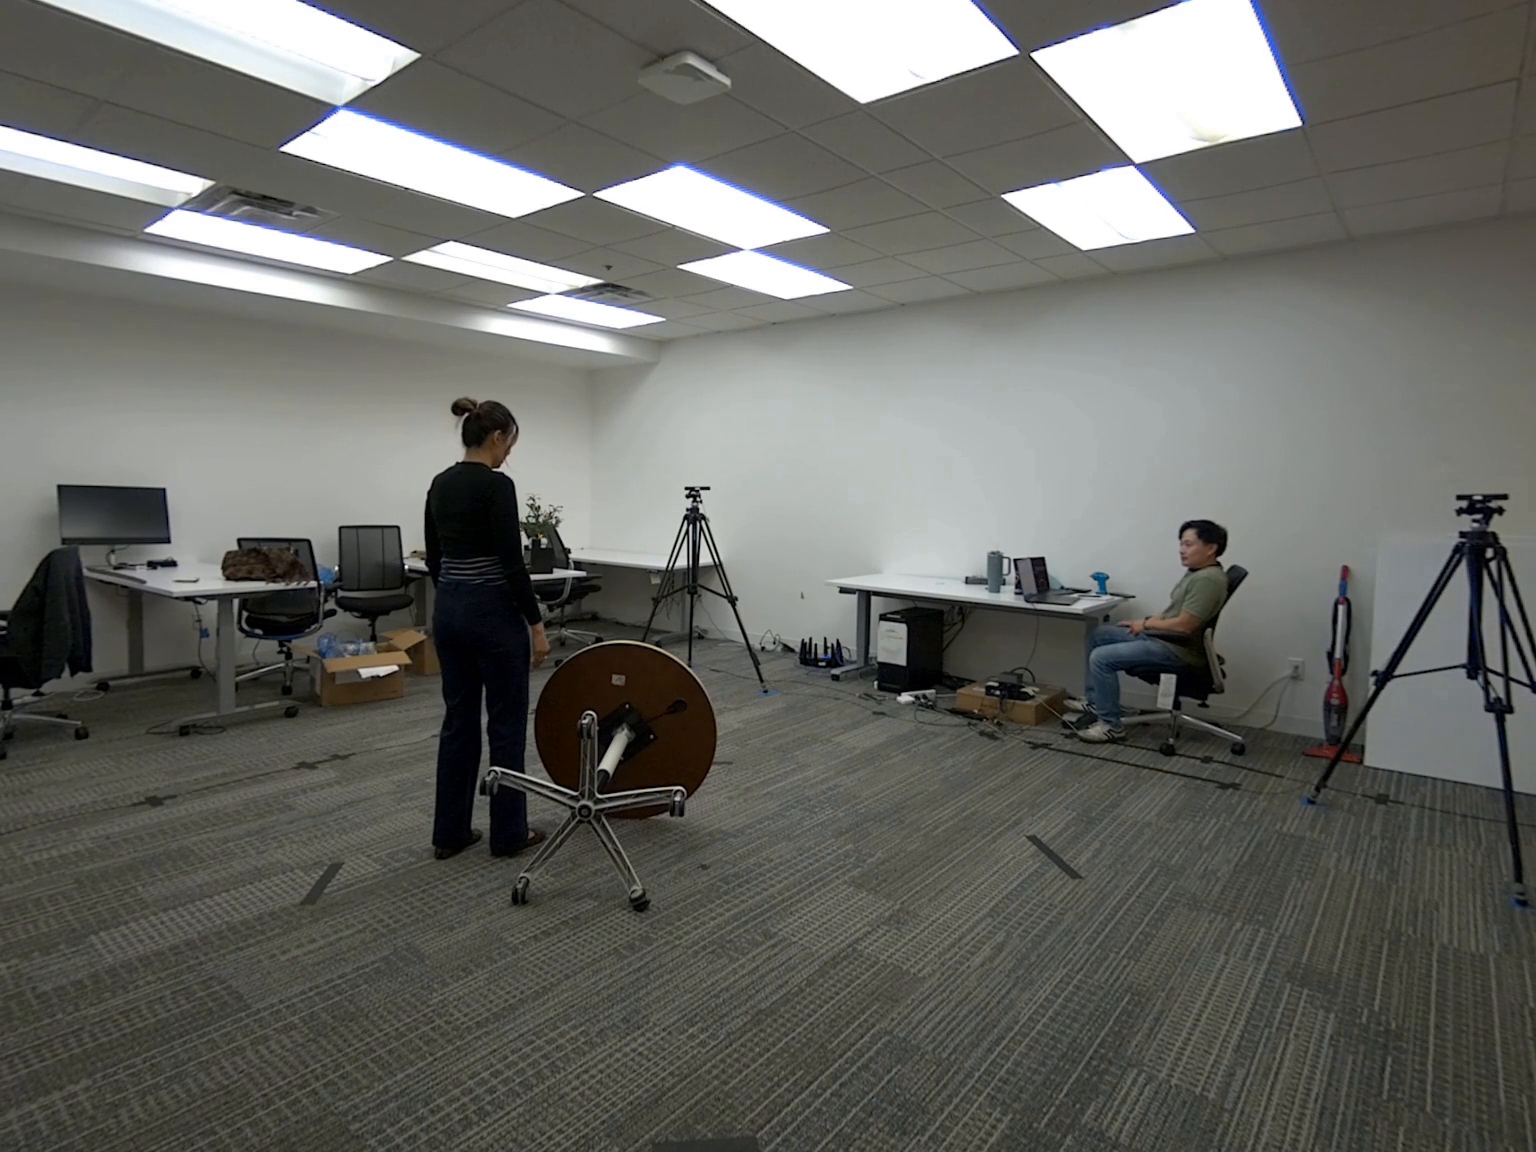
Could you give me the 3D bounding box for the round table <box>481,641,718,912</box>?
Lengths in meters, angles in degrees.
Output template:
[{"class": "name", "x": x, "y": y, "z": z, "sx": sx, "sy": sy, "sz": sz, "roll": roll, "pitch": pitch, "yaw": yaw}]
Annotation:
[{"class": "round table", "x": -0.611, "y": 0.722, "z": 3.133, "sx": 0.767, "sy": 0.757, "sz": 0.798, "roll": 1, "pitch": 10, "yaw": 3}]
